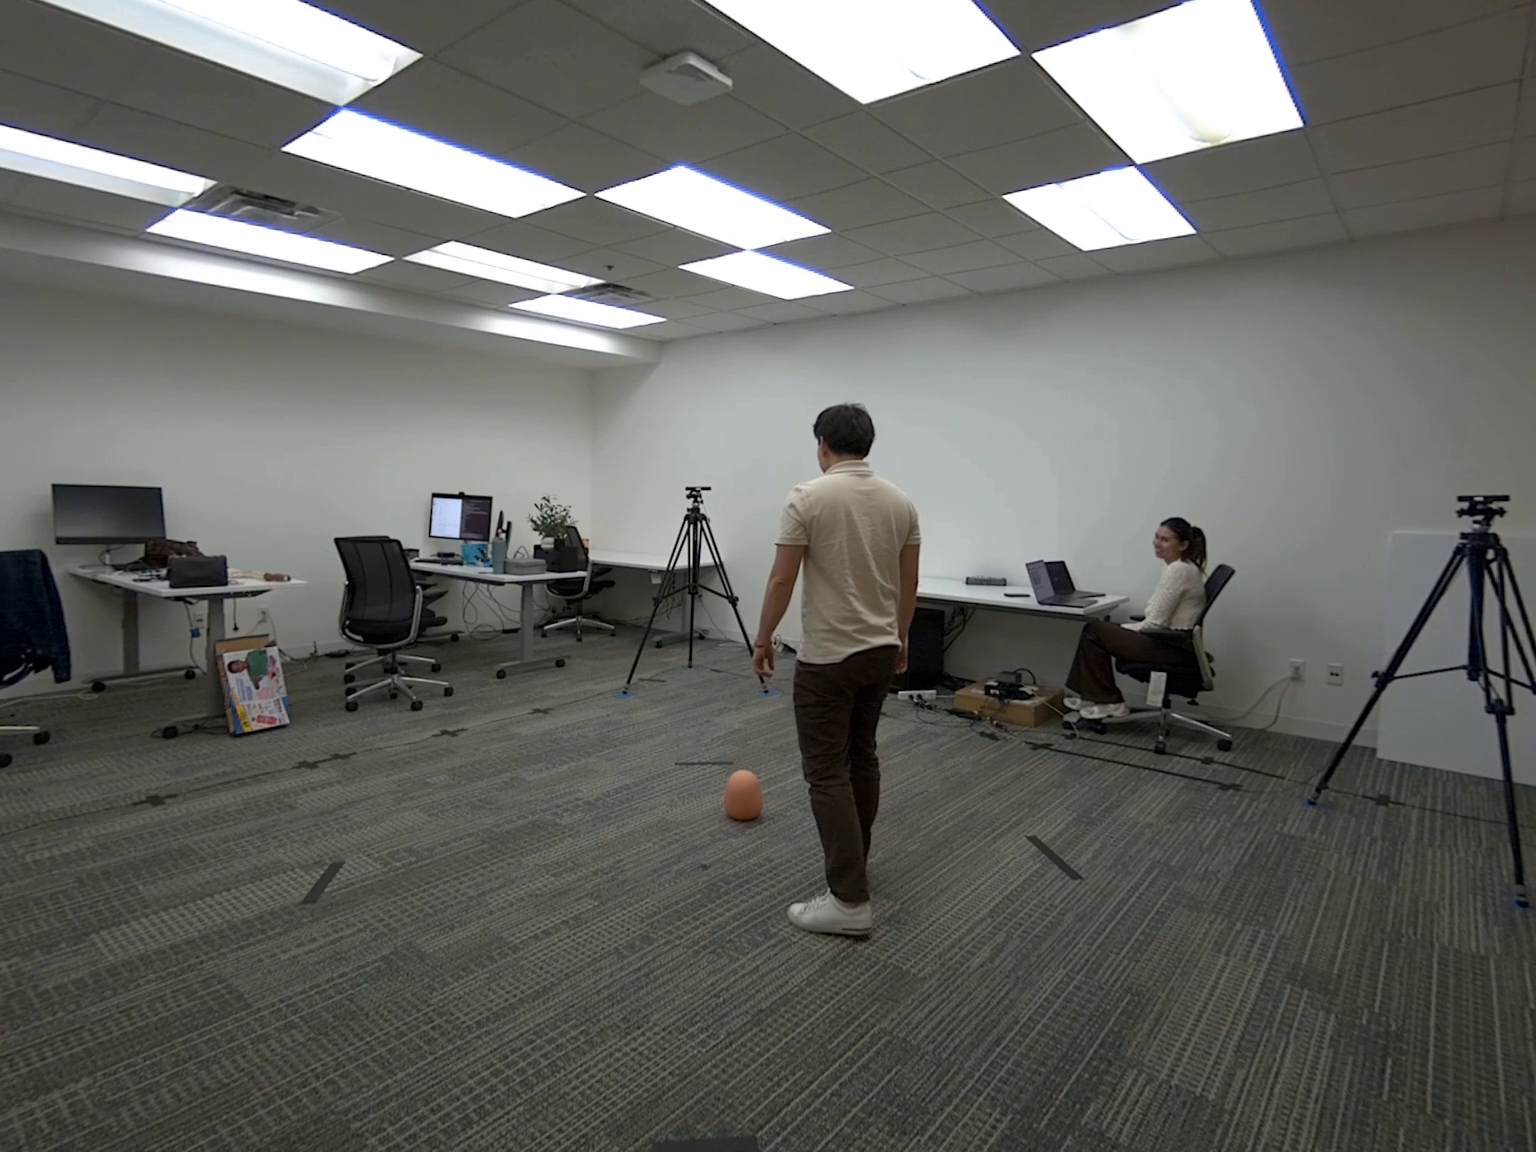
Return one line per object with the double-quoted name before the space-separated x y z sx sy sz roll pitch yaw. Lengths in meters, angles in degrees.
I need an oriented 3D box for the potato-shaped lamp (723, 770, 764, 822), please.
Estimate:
"potato-shaped lamp" -0.113 0.921 3.604 0.167 0.197 0.169 1 4 14
